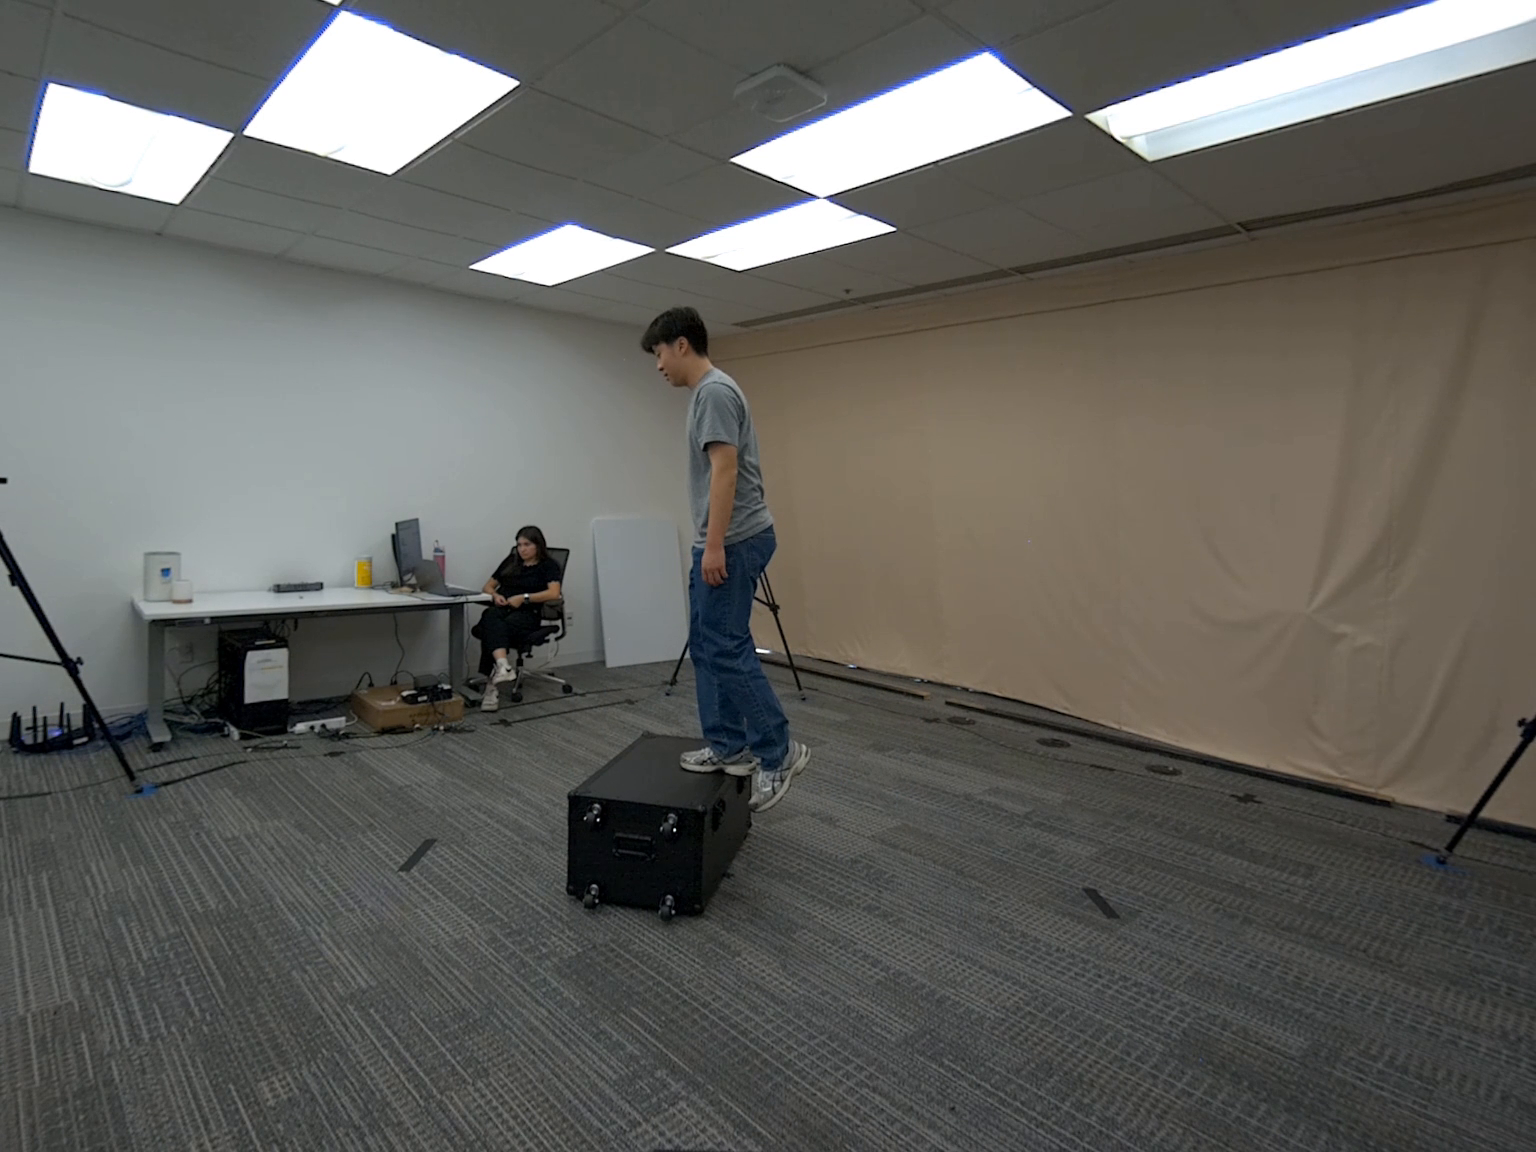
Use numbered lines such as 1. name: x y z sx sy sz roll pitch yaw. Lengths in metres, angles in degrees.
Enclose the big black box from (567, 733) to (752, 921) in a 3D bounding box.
1. big black box: -0.388 0.903 3.155 0.527 0.395 0.855 3 5 12
